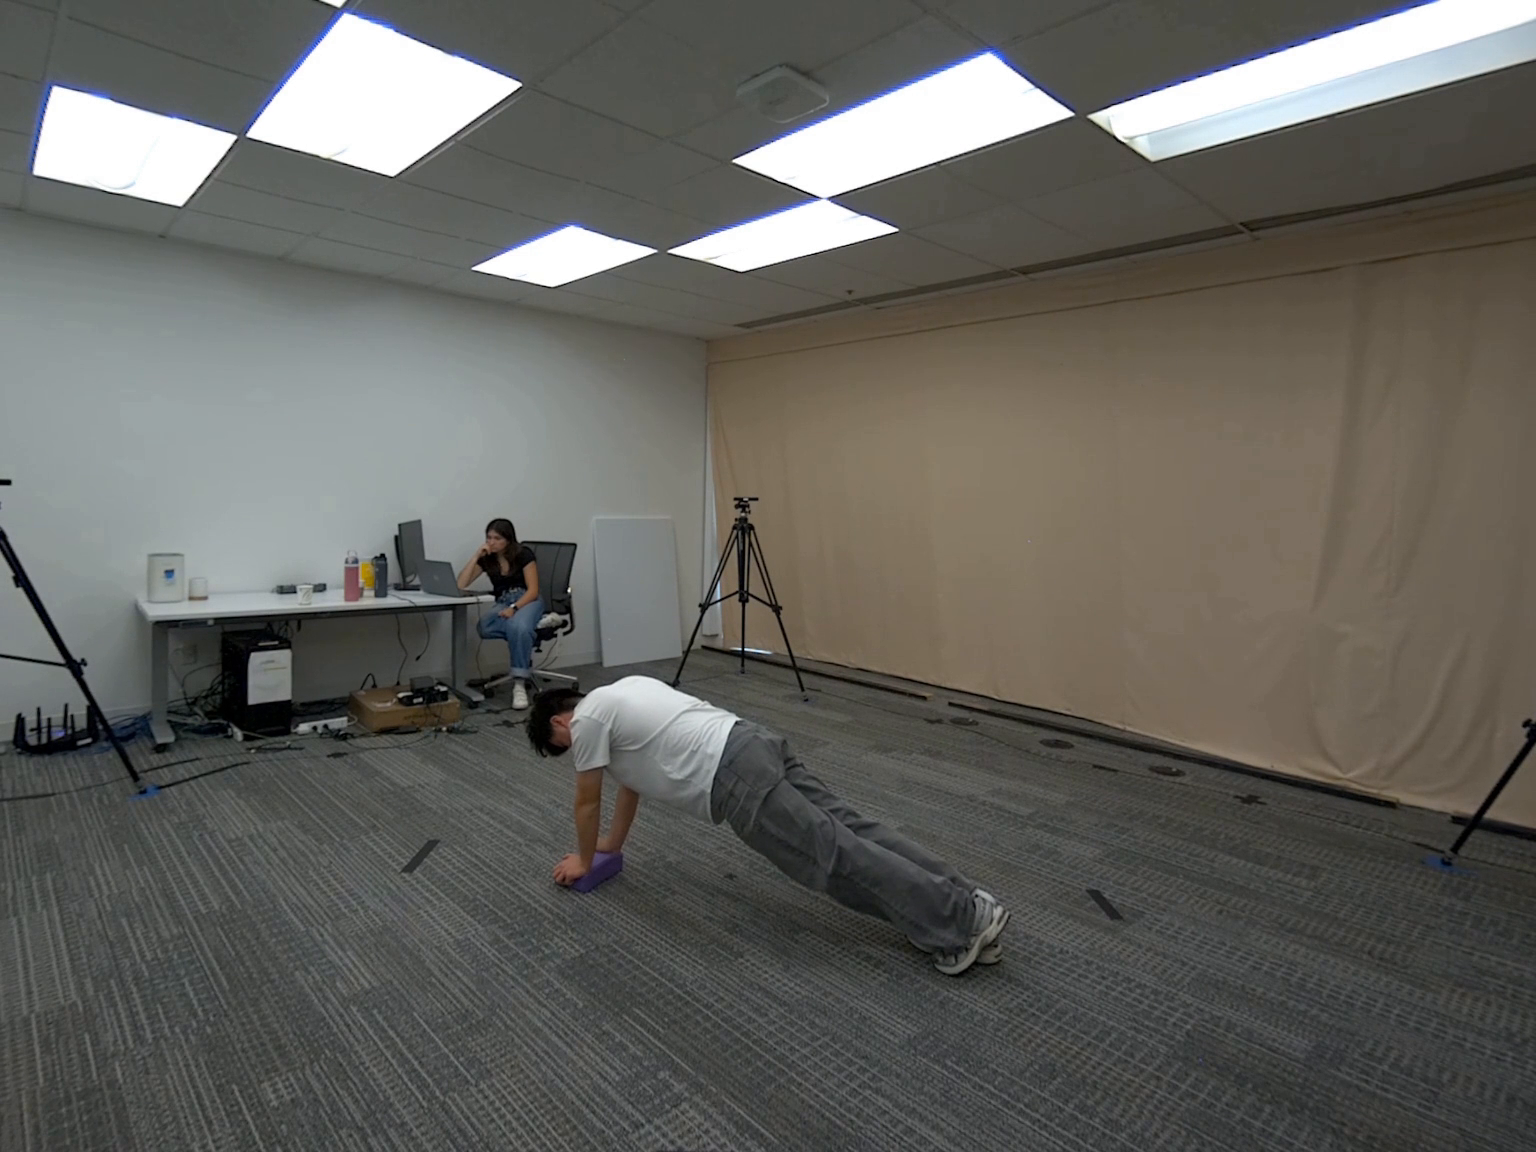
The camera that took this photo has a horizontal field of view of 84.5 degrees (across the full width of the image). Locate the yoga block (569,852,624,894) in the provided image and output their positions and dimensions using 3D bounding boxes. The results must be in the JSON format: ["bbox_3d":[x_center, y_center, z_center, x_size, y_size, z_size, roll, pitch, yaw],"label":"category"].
[{"bbox_3d":[-0.660,1.068,3.070,0.152,0.076,0.225,4,7,27],"label":"yoga block"}]
